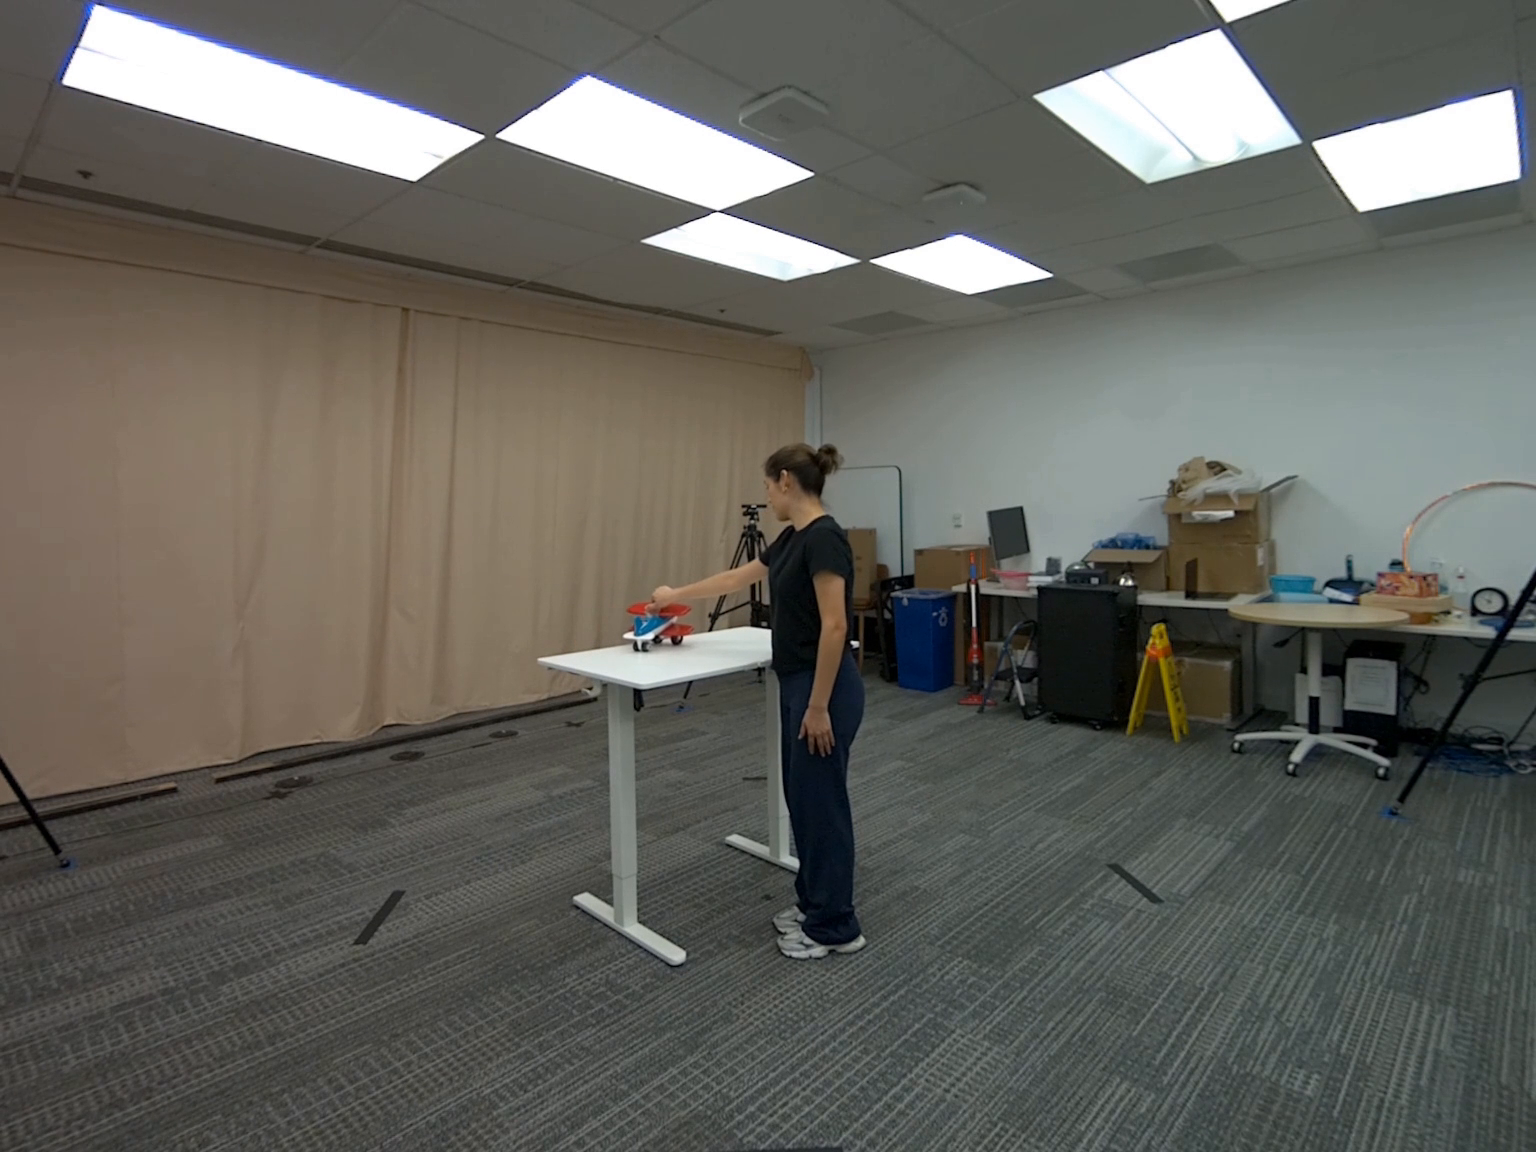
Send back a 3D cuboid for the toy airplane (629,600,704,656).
[{"bbox_3d":[-0.365,0.181,3.042,0.250,0.156,0.261,-1,4,-5],"label":"toy airplane"}]
